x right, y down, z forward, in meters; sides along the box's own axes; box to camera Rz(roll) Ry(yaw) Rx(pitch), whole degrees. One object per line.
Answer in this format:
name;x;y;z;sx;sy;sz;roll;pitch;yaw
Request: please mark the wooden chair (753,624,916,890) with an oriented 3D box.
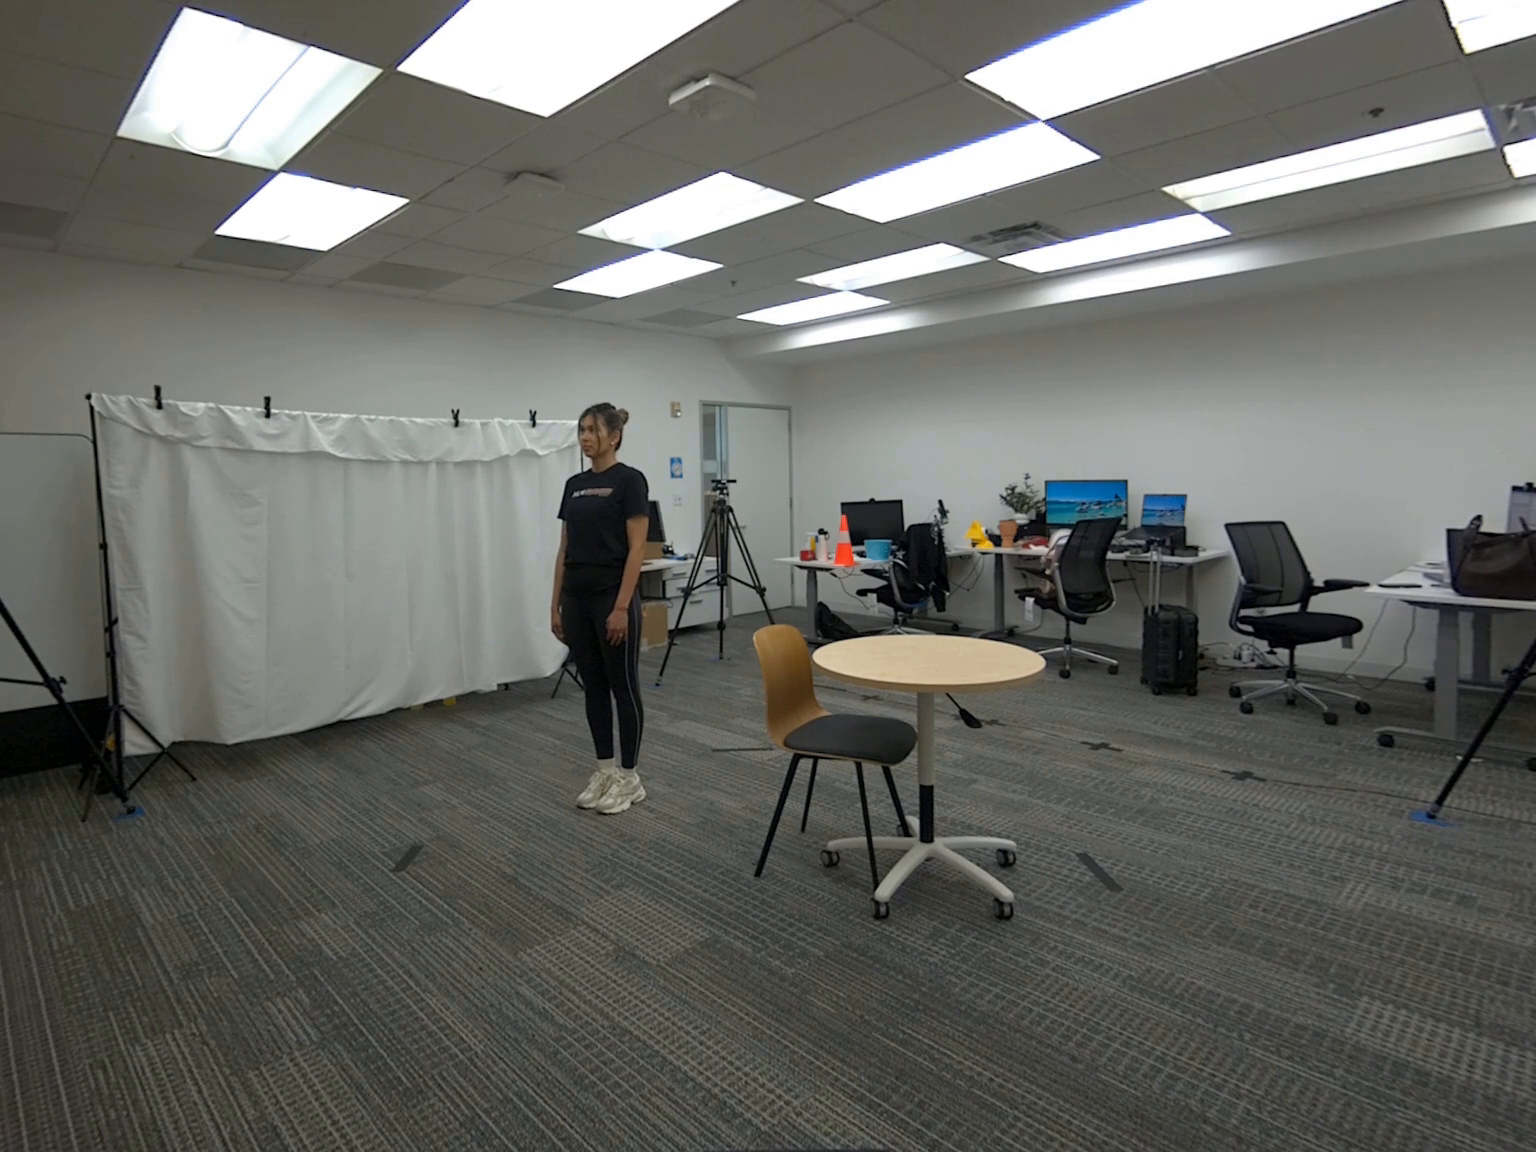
wooden chair;0.249;0.618;3.066;0.535;0.876;0.468;-3;2;27
